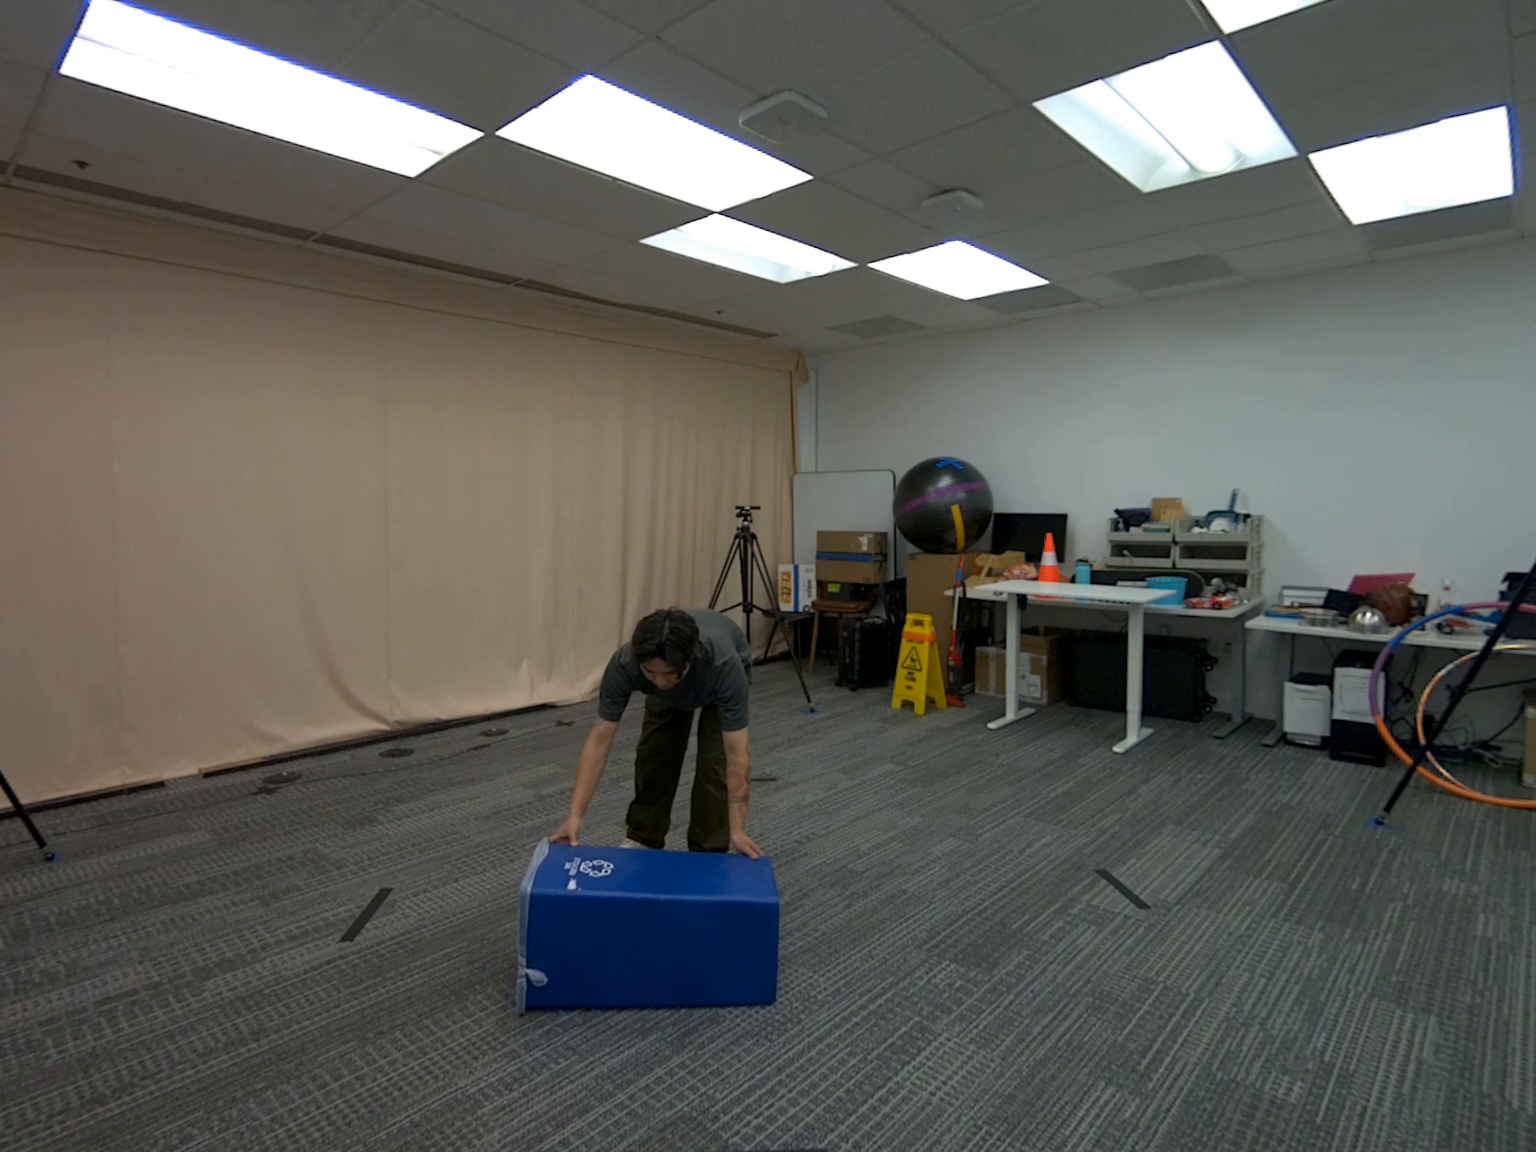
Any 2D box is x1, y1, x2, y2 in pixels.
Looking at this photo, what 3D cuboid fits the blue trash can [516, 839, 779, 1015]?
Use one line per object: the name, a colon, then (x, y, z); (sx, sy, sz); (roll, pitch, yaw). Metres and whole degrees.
blue trash can: (-0.336, 1.010, 2.471); (0.712, 0.373, 0.380); (1, 3, -3)
